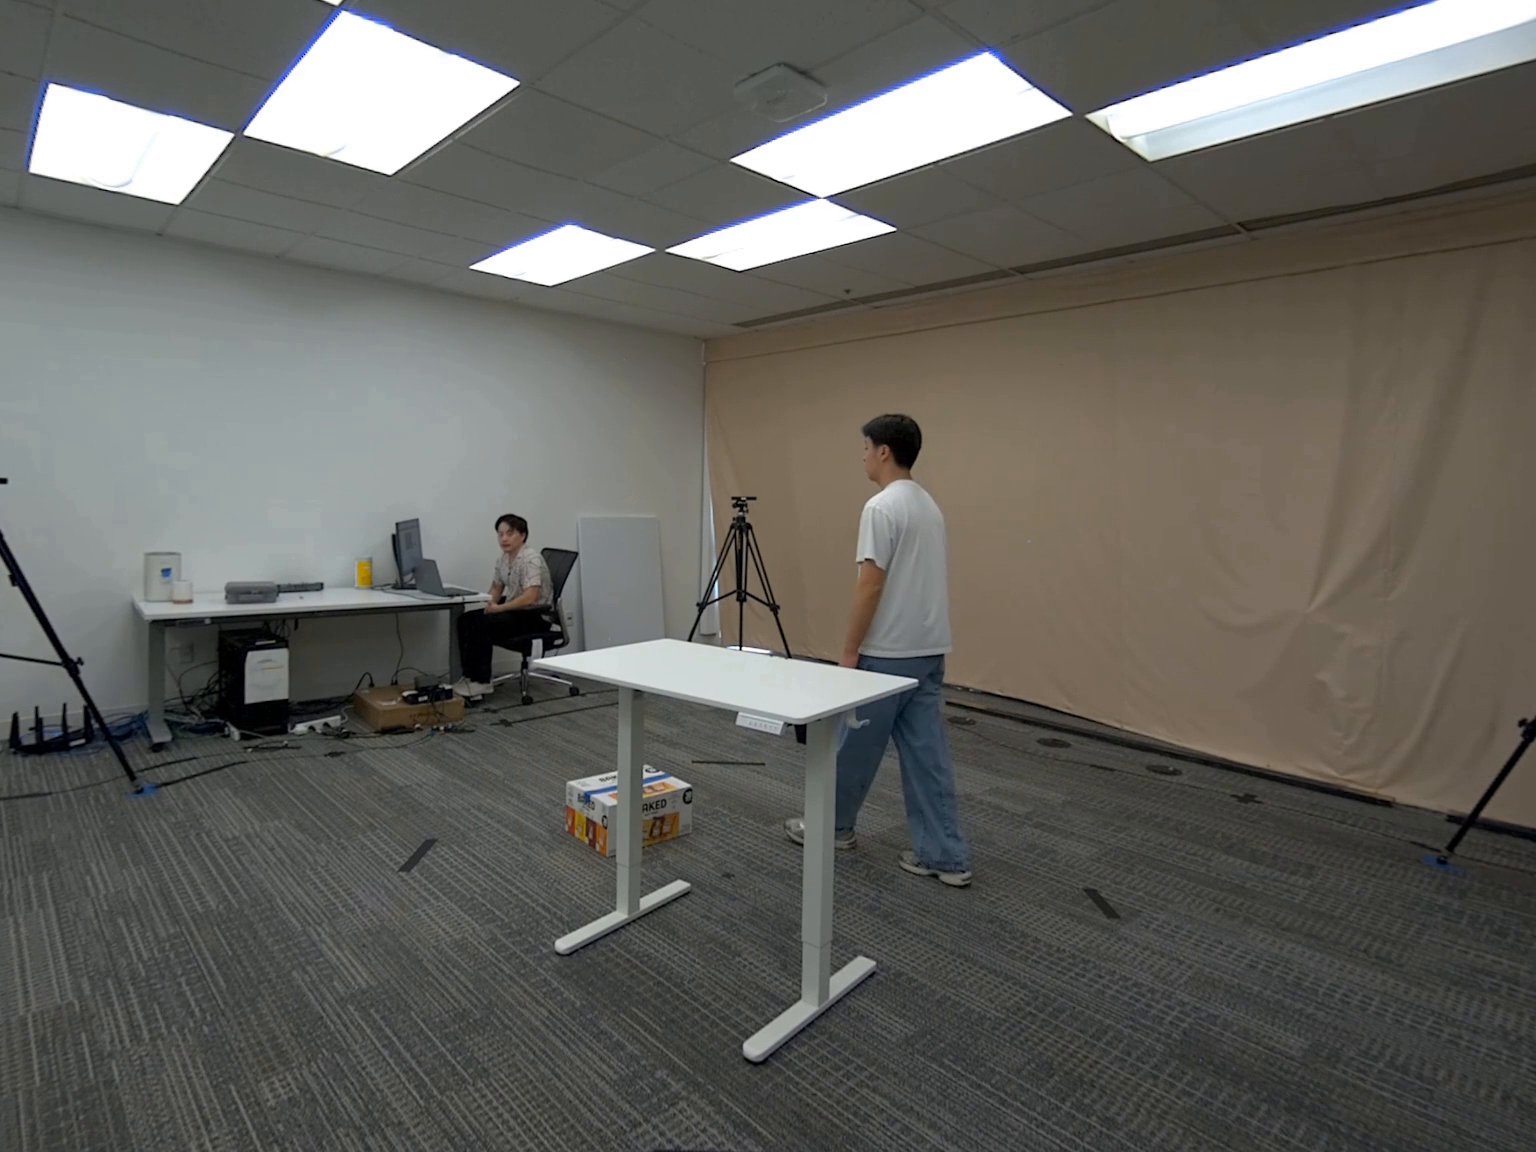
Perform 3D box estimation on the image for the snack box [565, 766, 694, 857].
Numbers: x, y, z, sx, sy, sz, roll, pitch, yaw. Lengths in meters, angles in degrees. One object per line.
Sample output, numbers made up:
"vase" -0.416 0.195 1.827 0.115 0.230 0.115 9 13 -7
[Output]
"snack box" -0.579 0.957 3.481 0.396 0.205 0.349 -3 6 -40
